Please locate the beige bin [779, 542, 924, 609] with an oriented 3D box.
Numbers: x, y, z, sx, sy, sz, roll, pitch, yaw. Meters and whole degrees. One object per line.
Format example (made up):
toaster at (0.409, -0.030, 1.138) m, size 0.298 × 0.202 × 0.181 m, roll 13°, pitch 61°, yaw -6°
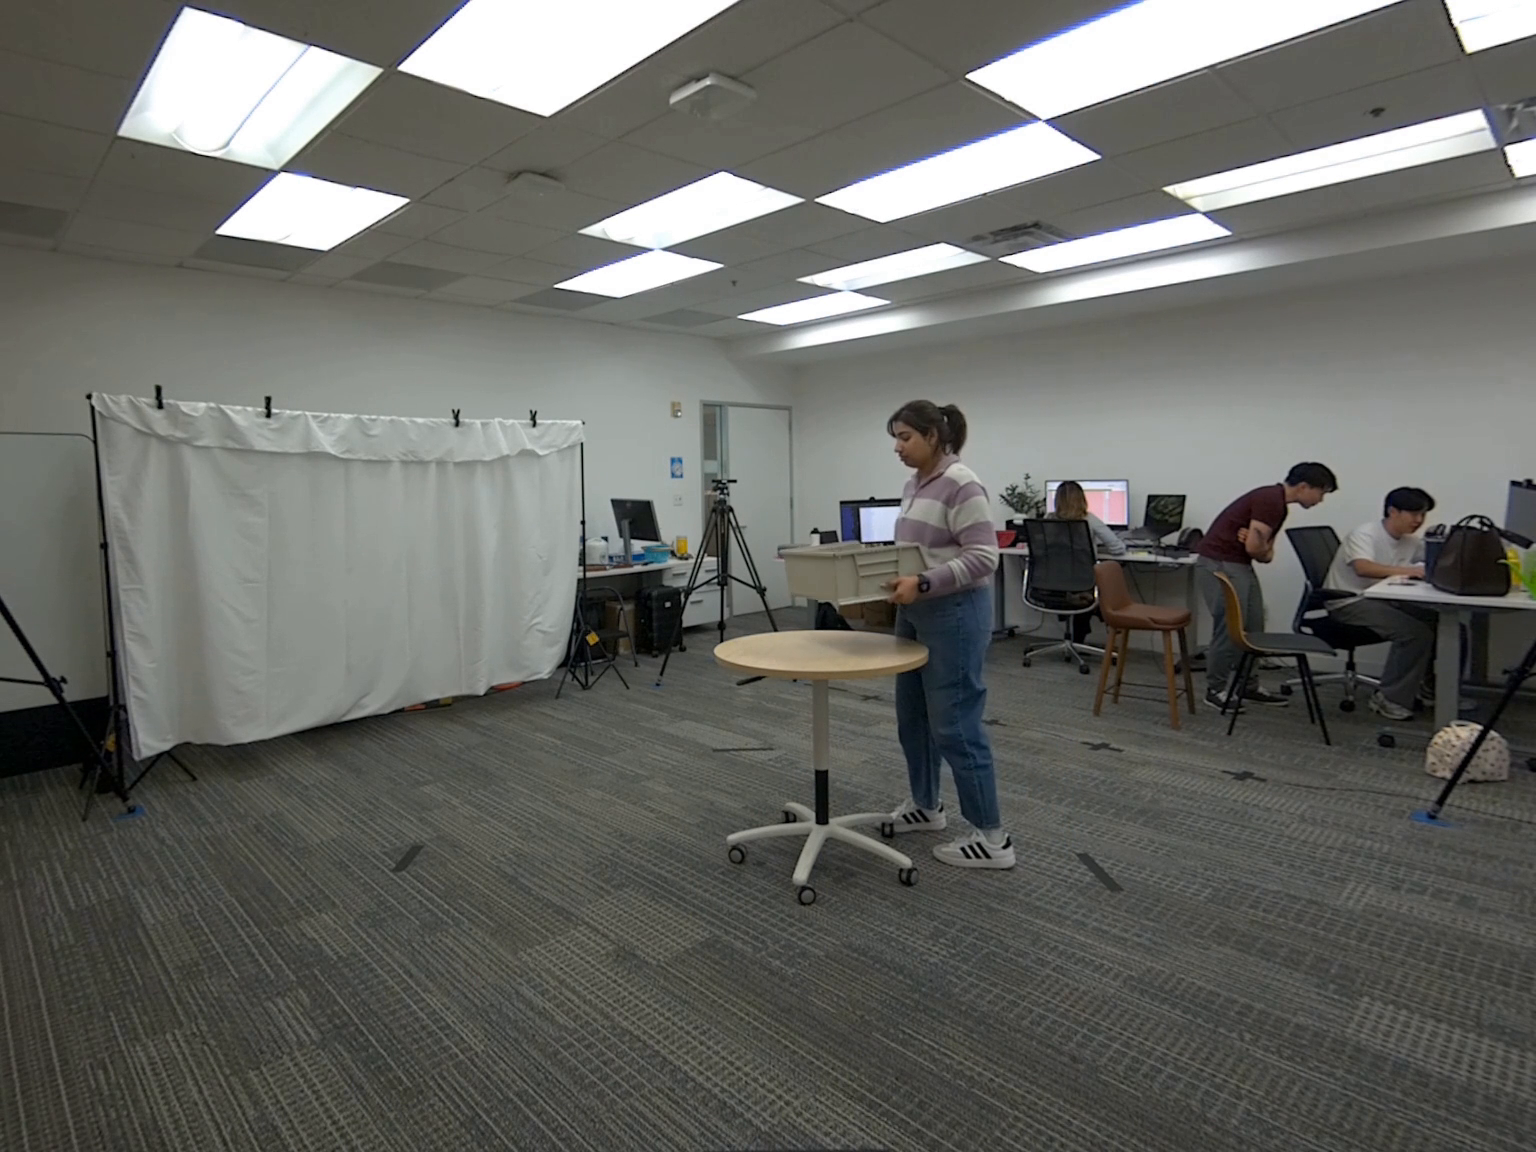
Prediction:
beige bin at (0.316, -0.016, 3.100) m, size 0.371 × 0.188 × 0.431 m, roll -9°, pitch 6°, yaw -22°
